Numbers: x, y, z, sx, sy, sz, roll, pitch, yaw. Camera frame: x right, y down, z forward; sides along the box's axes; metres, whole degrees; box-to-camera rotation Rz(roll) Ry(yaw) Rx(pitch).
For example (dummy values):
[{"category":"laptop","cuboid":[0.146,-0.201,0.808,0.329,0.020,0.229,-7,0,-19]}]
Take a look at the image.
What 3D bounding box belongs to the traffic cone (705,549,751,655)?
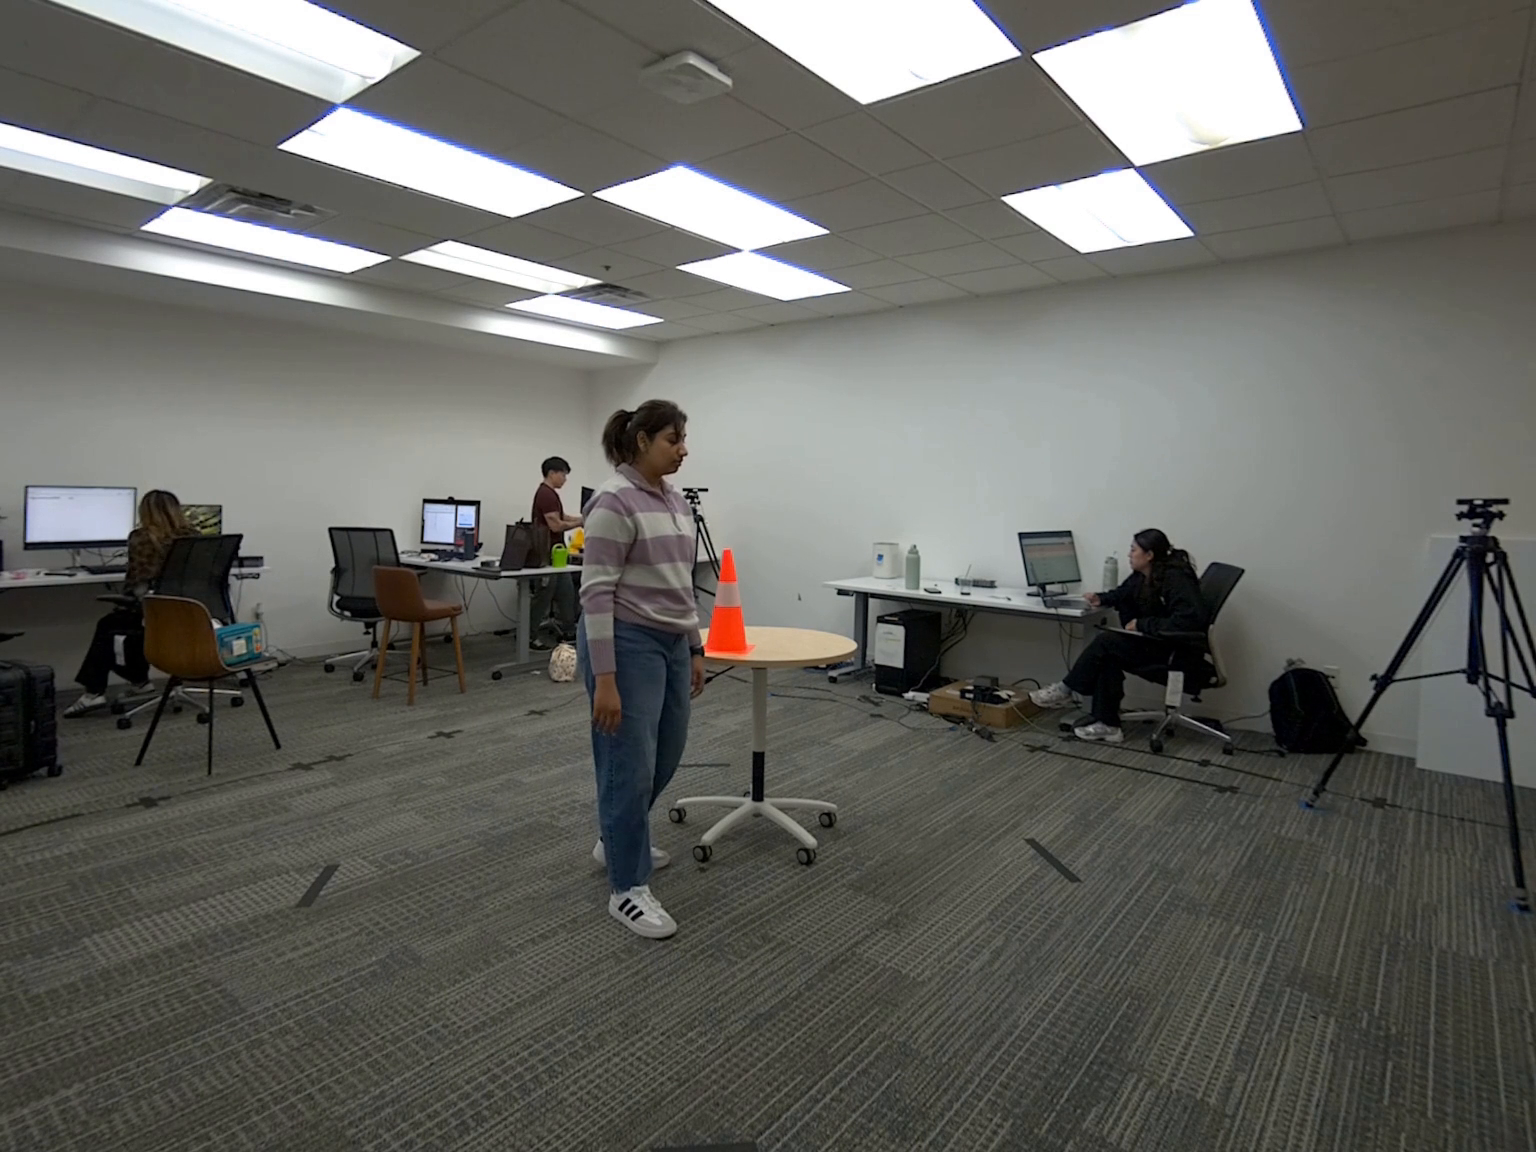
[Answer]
[{"category":"traffic cone","cuboid":[-0.167,0.085,3.236,0.208,0.383,0.201,1,3,12]}]
